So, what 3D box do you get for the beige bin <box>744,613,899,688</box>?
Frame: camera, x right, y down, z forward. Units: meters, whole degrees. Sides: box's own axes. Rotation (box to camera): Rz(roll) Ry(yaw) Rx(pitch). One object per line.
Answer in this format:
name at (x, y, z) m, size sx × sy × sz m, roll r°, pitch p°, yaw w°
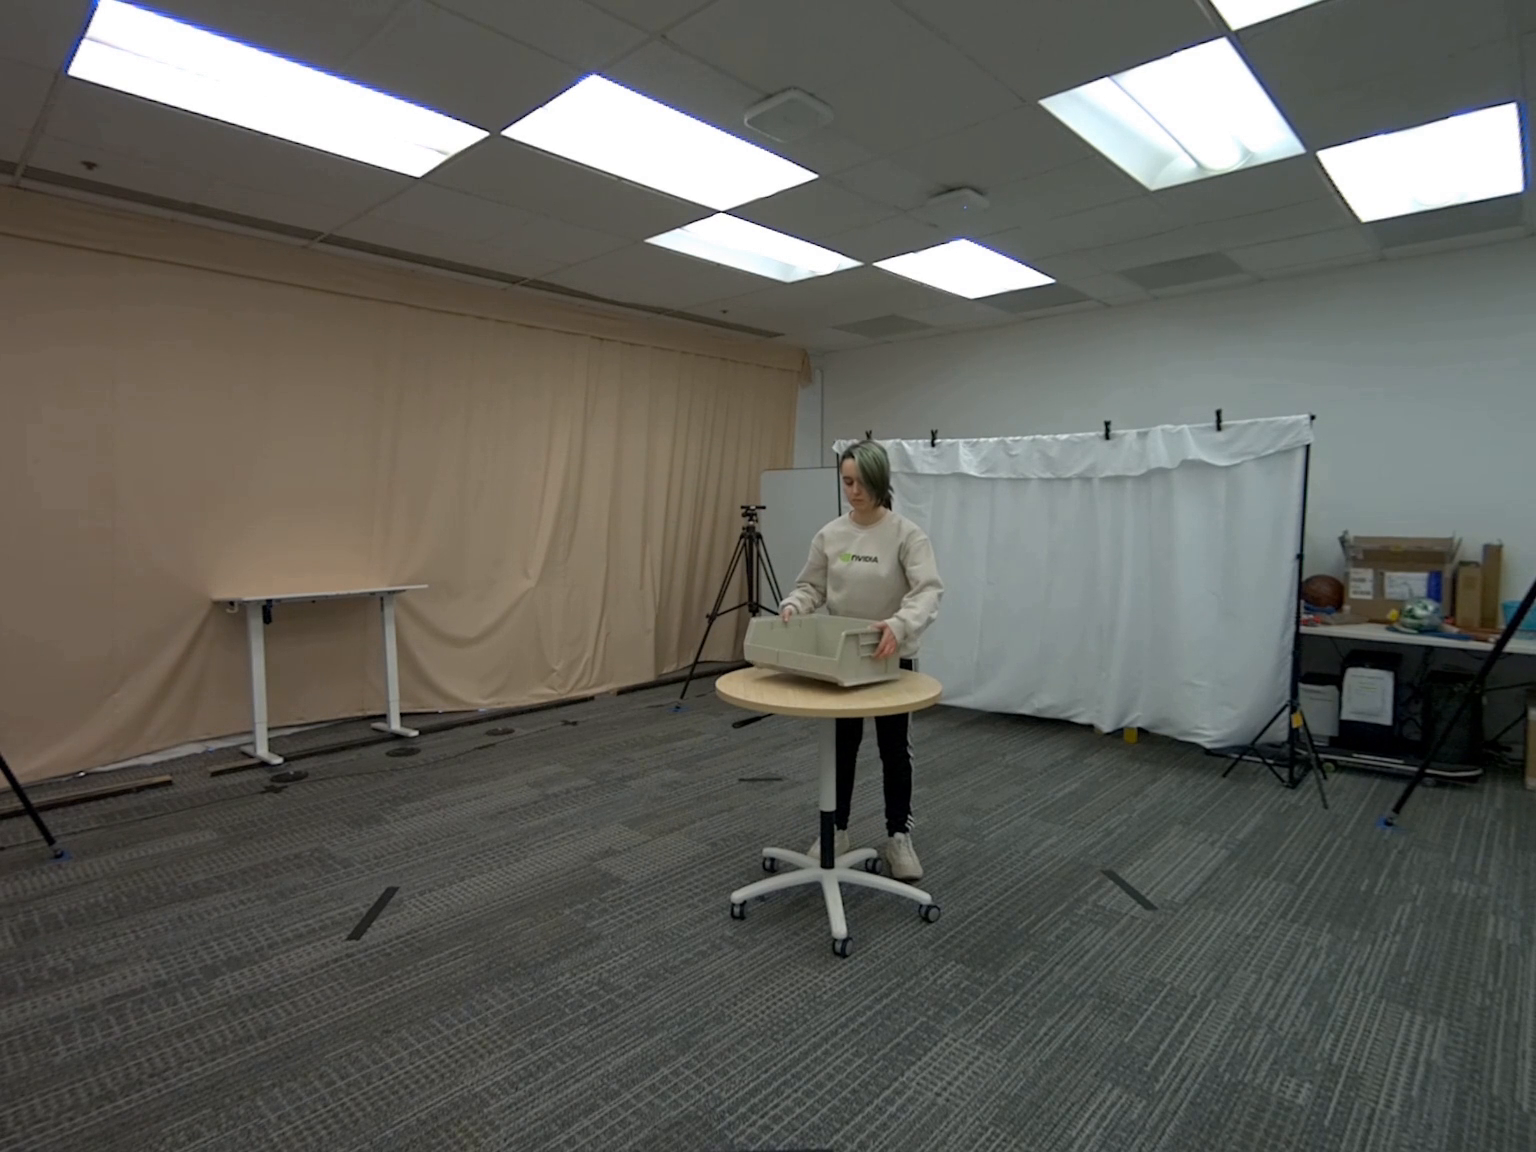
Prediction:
beige bin at (0.199, 0.242, 2.922) m, size 0.365 × 0.189 × 0.436 m, roll 0°, pitch 3°, yaw -44°
